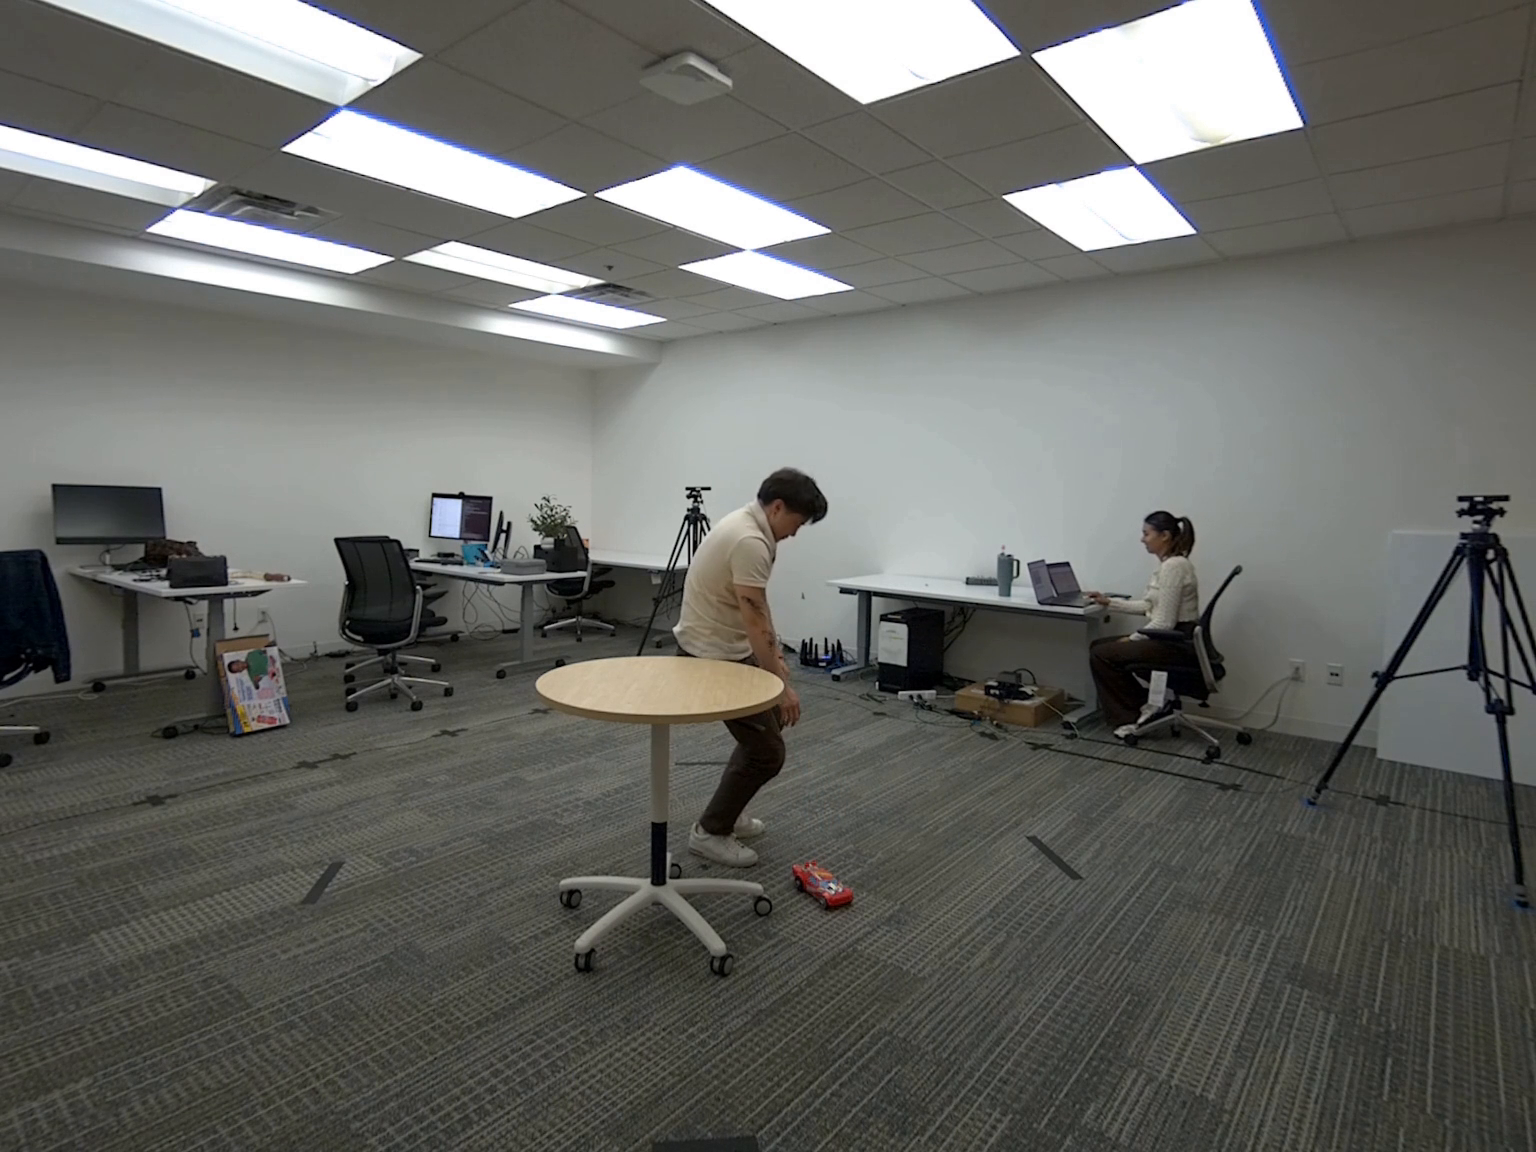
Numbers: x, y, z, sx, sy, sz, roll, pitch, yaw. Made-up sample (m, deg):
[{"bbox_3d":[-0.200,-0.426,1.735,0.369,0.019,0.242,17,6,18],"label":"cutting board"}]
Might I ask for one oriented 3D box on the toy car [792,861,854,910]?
[{"bbox_3d":[0.177,1.058,2.929,0.127,0.082,0.264,-2,17,-29],"label":"toy car"}]
